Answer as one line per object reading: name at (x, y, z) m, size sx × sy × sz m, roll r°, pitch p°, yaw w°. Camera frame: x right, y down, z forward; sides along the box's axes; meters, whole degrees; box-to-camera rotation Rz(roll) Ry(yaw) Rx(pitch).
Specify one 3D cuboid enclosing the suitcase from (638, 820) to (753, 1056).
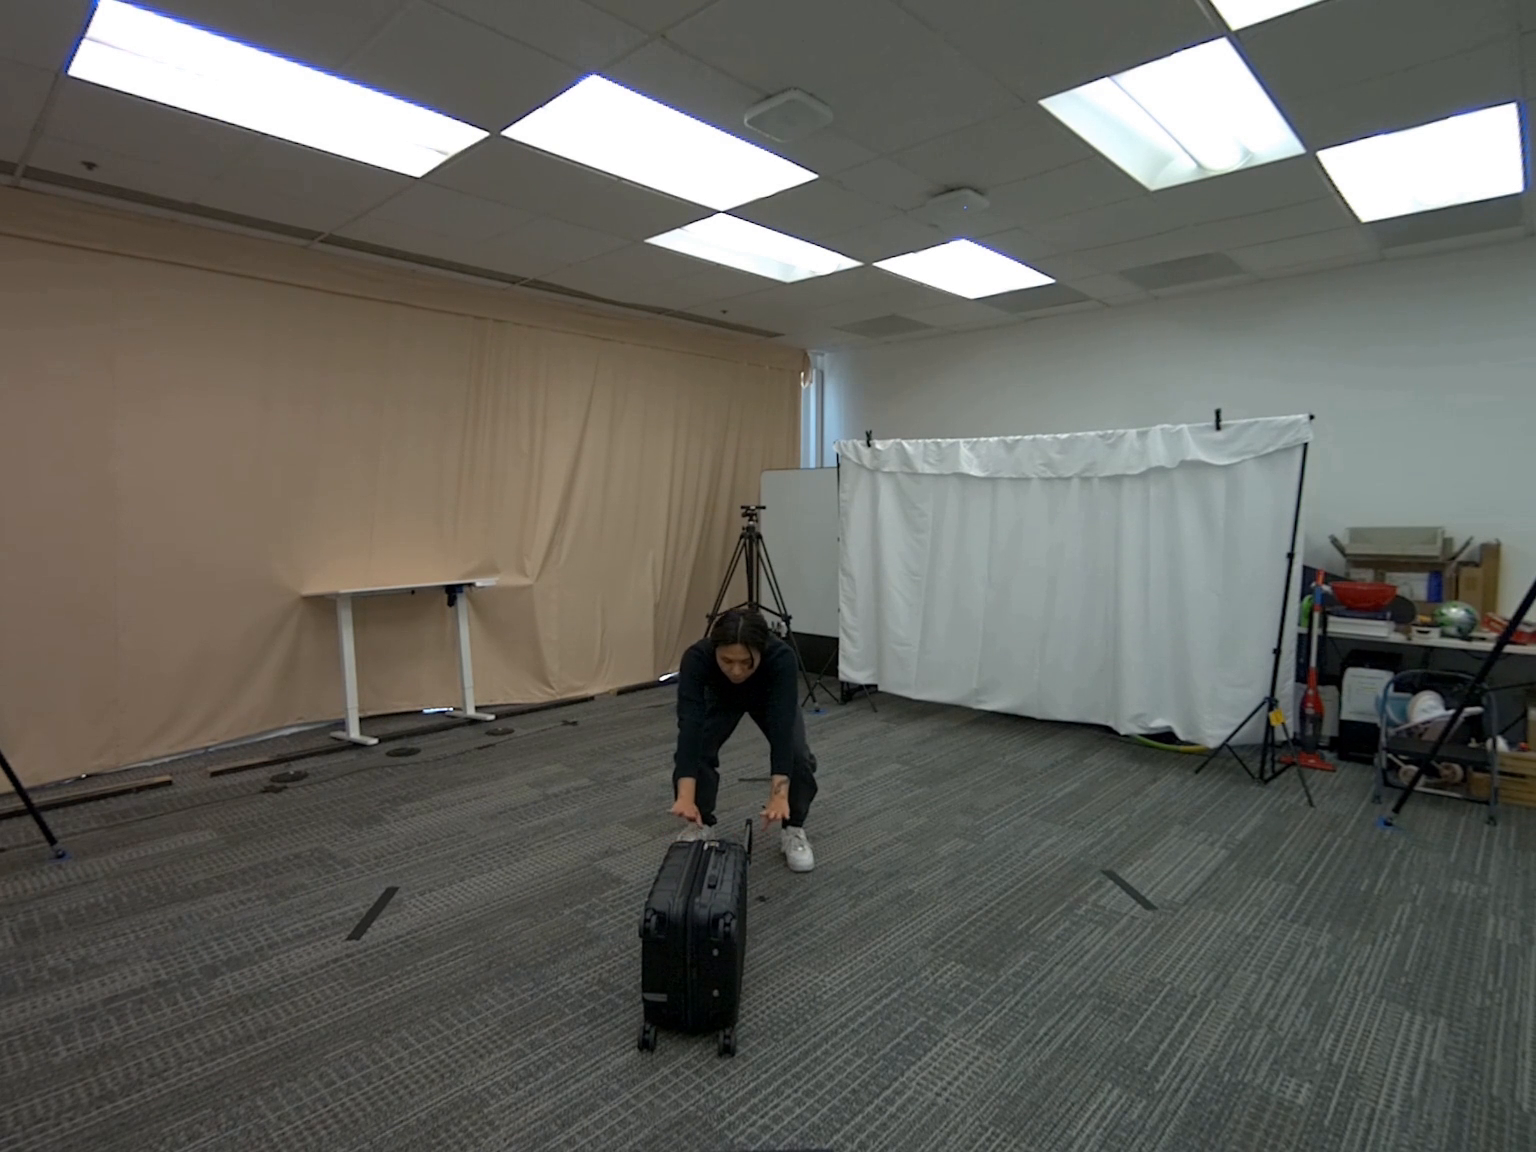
suitcase at (-0.191, 0.984, 2.602) m, size 0.258 × 0.383 × 0.978 m, roll 2°, pitch 5°, yaw 1°
